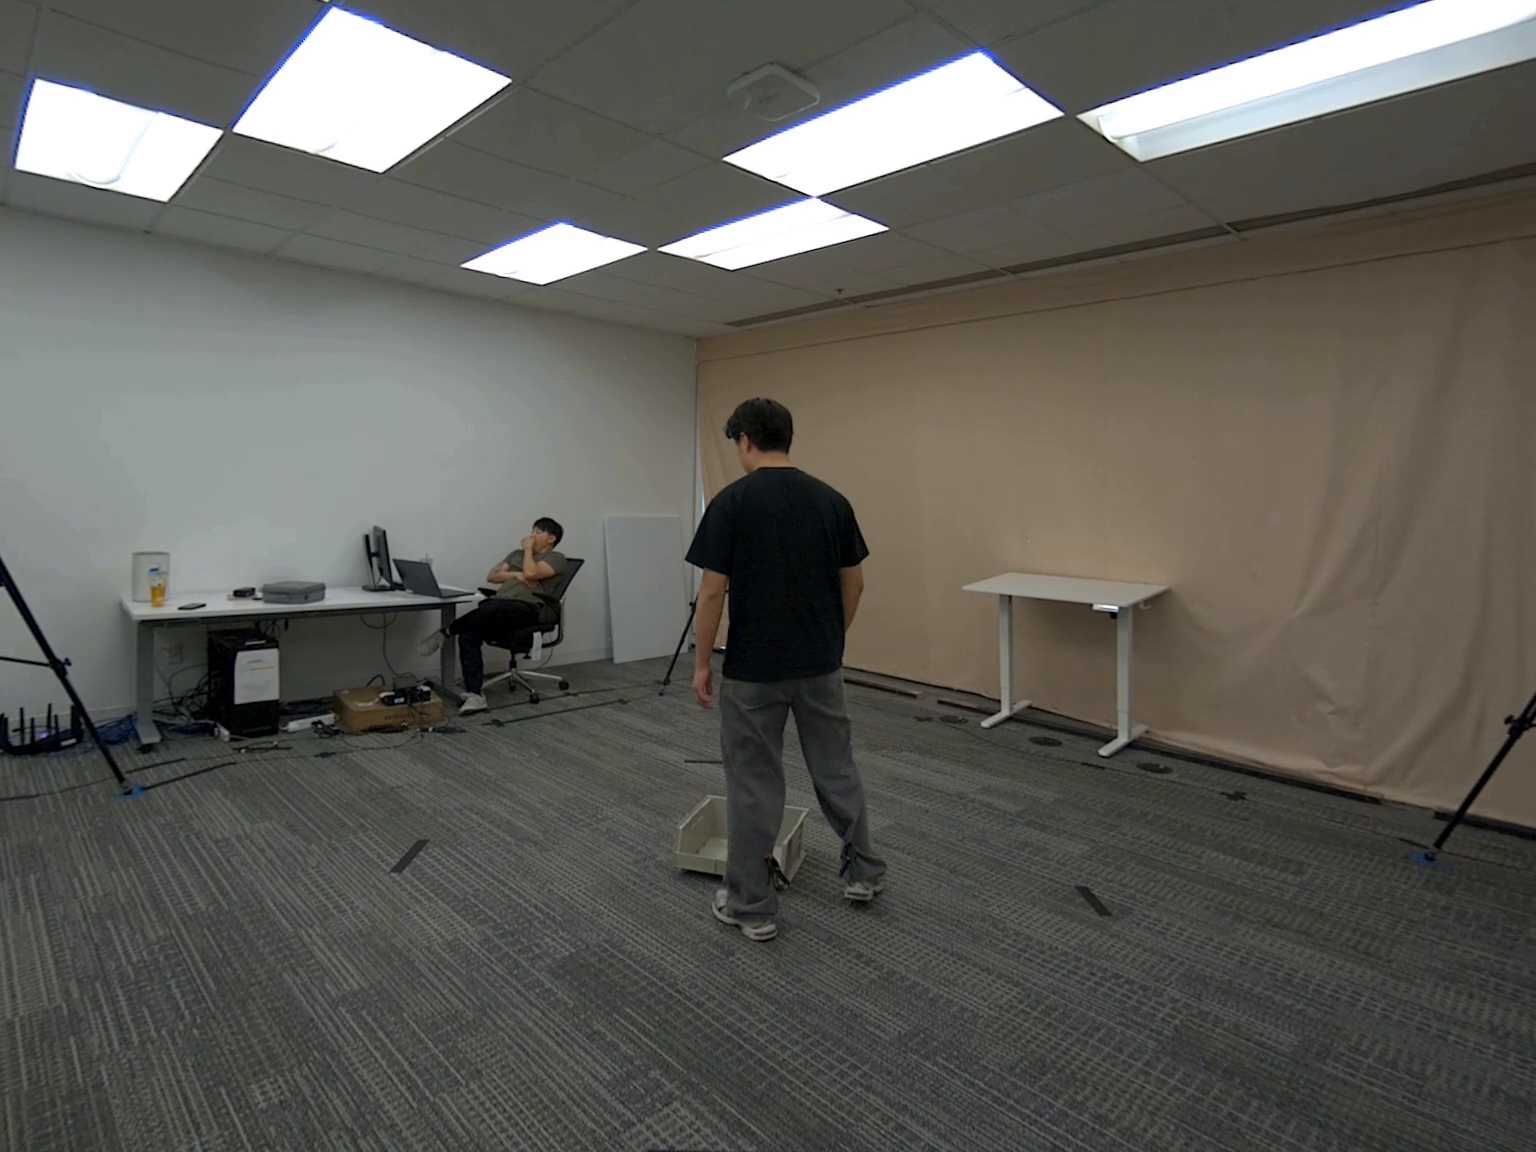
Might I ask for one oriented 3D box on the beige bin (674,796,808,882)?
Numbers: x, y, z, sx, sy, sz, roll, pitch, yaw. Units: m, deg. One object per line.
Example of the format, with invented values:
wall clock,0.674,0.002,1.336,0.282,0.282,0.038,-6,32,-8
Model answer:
beige bin,-0.097,1.010,3.188,0.428,0.188,0.373,3,4,17
